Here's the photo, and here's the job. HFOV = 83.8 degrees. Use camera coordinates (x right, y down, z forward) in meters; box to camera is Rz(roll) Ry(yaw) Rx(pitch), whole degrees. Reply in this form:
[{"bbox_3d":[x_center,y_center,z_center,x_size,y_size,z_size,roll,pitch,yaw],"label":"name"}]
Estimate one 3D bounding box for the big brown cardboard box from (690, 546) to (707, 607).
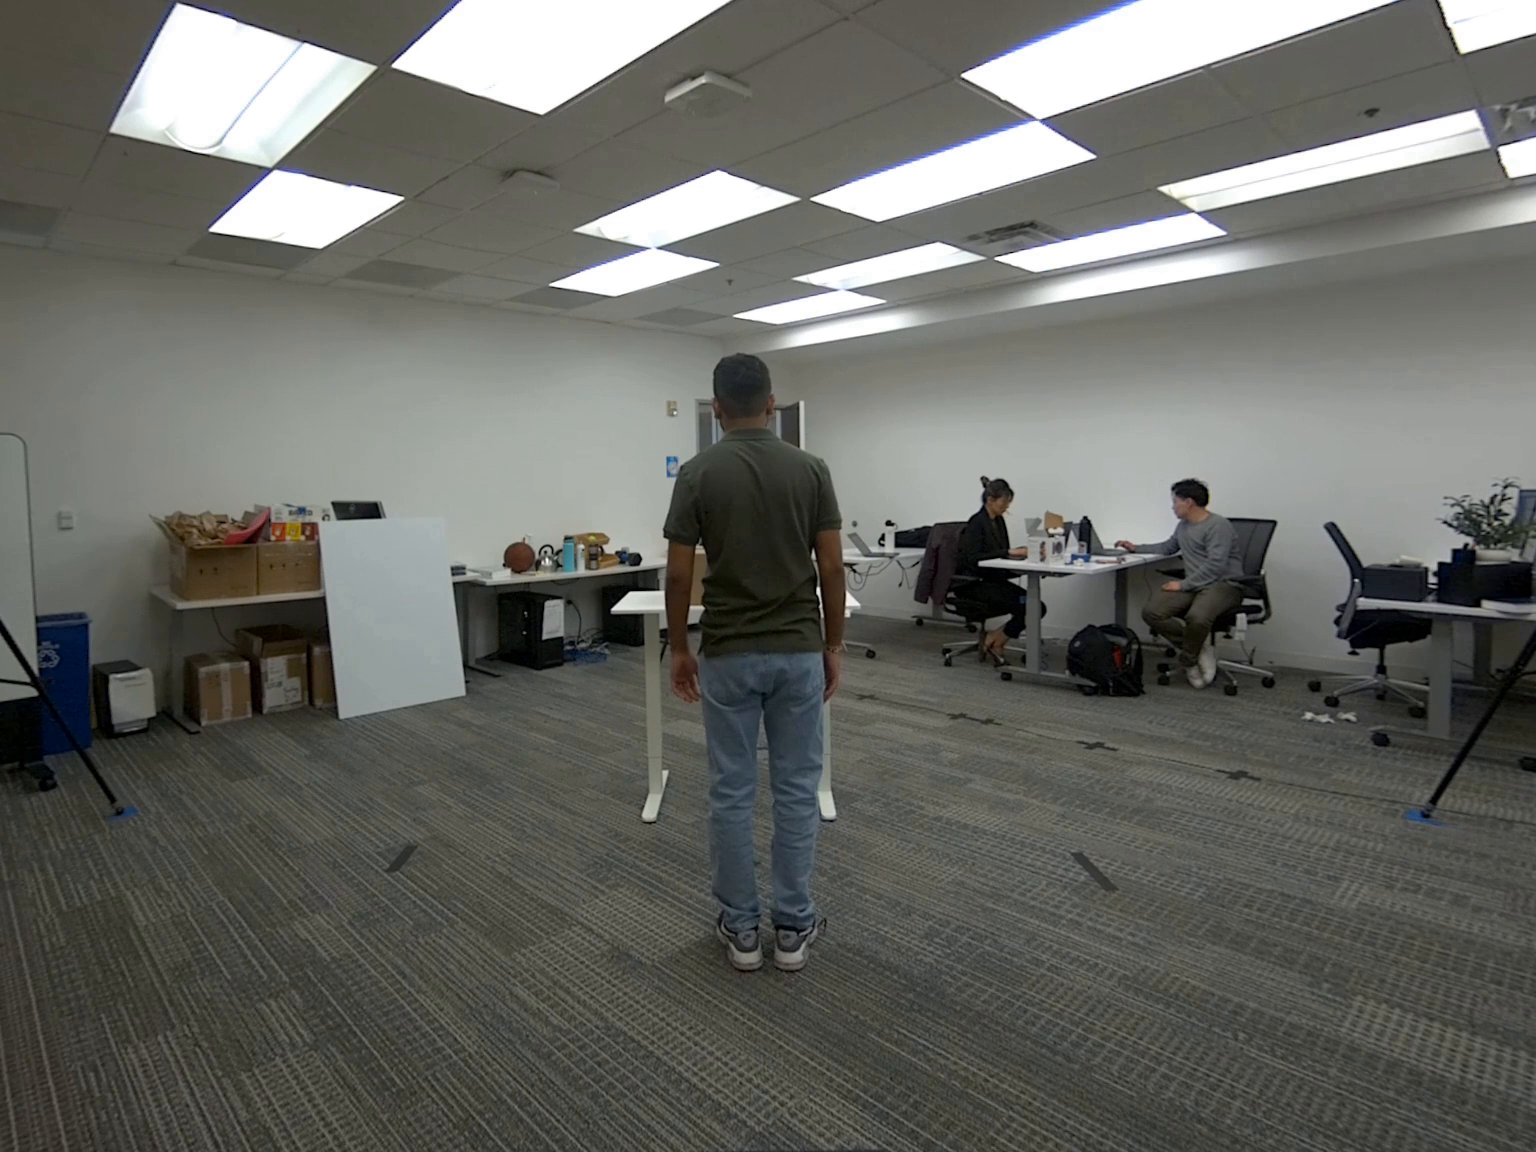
[{"bbox_3d":[-0.100,-0.010,3.698,0.591,0.232,0.418,0,5,3],"label":"big brown cardboard box"}]
